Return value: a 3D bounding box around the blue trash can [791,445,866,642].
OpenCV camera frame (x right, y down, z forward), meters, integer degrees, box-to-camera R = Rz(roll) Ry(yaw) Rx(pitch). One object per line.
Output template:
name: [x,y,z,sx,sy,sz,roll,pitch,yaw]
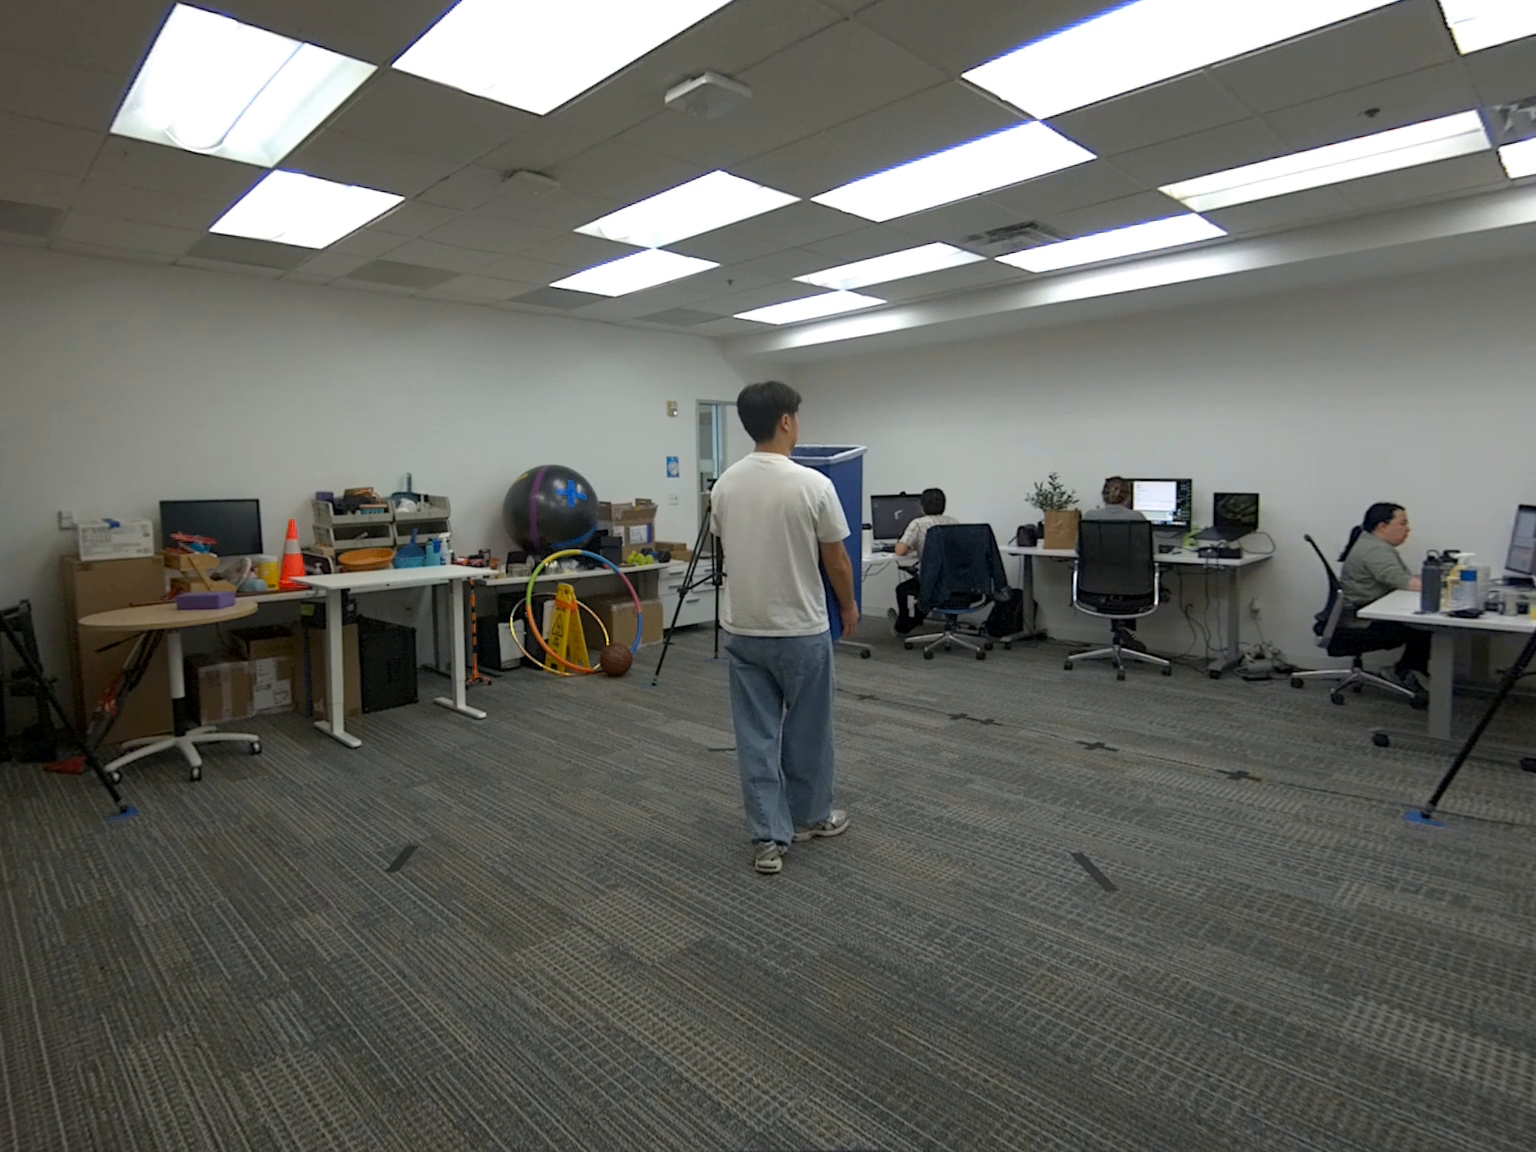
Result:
blue trash can: [0.186,-0.146,3.378,0.384,0.705,0.373,3,15,29]
